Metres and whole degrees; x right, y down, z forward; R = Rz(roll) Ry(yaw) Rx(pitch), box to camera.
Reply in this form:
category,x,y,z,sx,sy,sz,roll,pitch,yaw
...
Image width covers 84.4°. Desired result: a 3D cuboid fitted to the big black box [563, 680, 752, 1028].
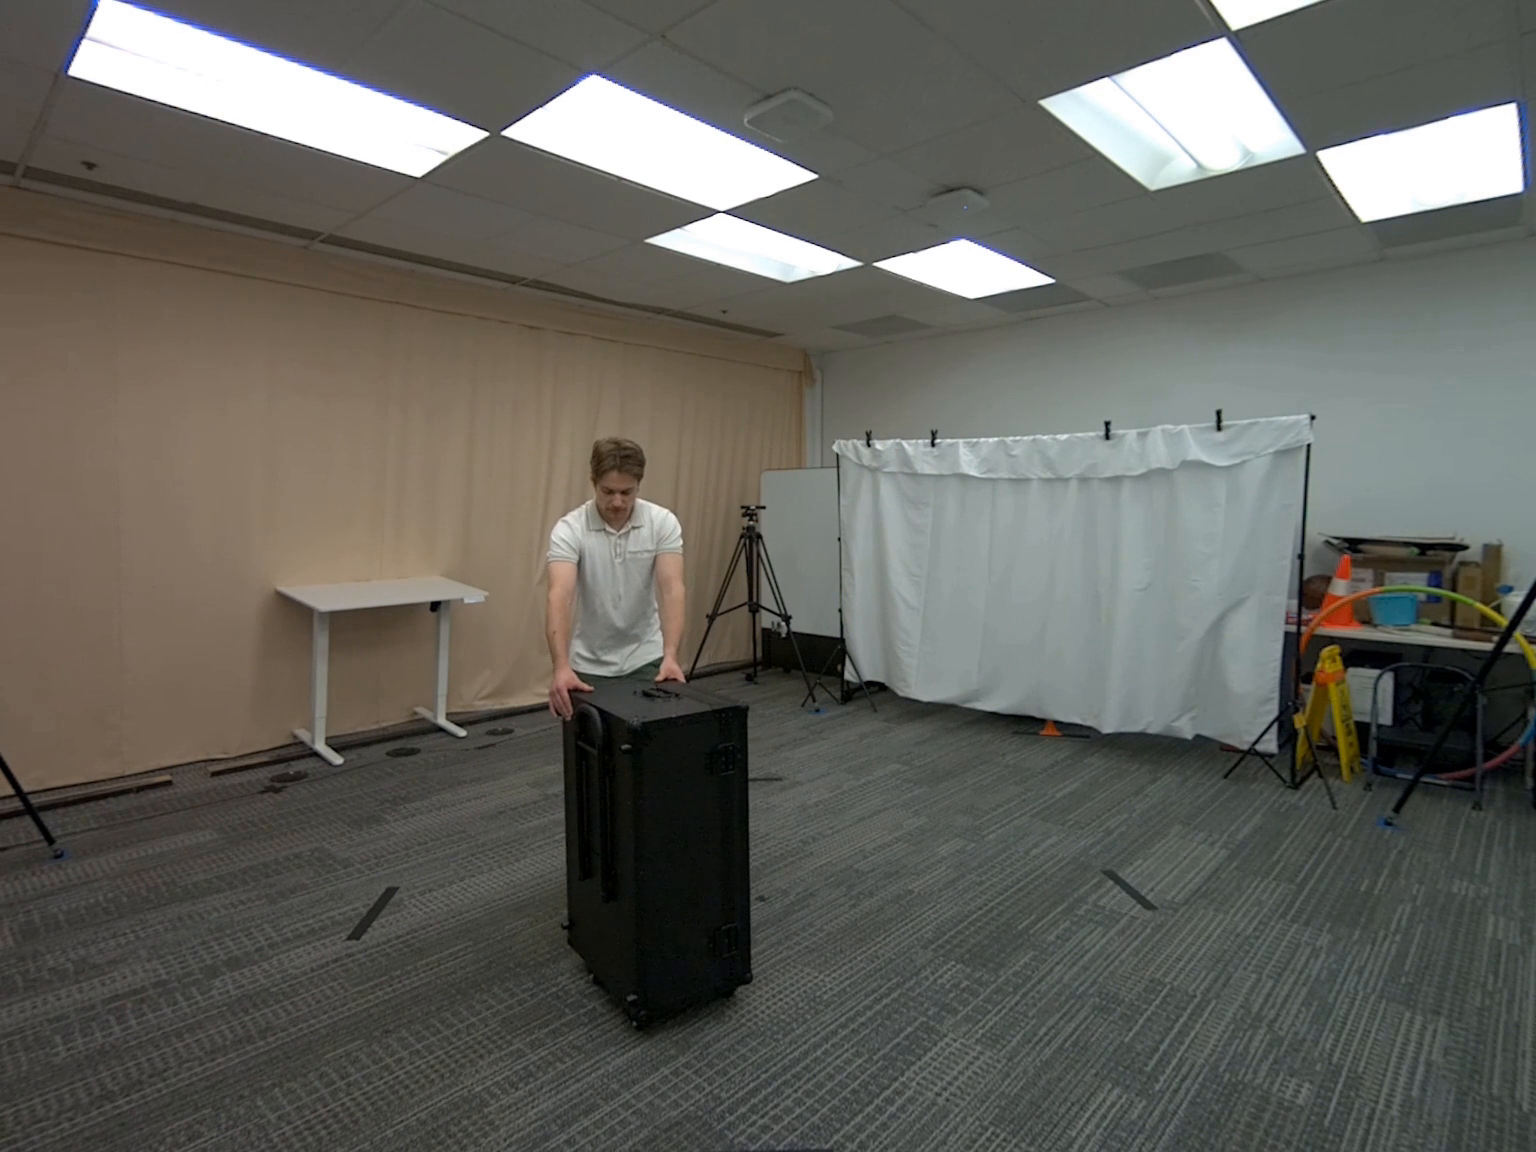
category,x,y,z,sx,sy,sz,roll,pitch,yaw
big black box,-0.318,0.772,2.411,0.374,0.867,0.540,-3,4,-35
